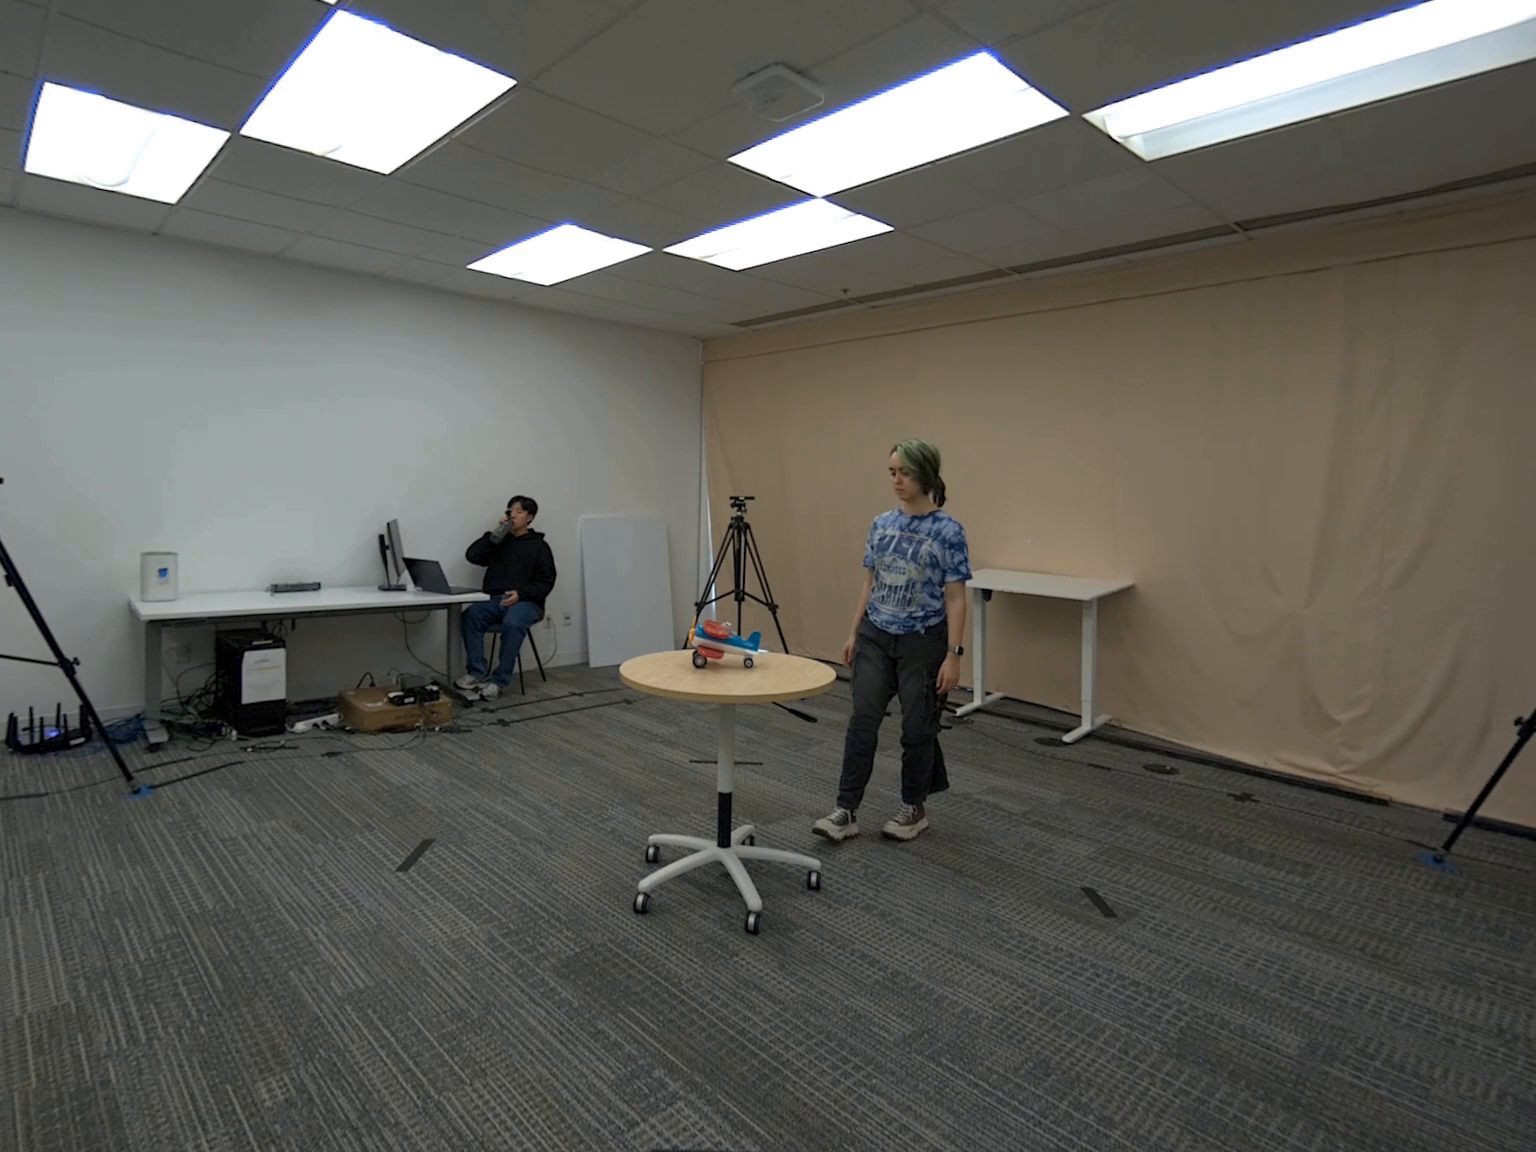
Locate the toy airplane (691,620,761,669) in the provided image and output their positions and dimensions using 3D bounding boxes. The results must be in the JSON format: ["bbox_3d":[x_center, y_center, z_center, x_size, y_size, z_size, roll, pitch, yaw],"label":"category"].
[{"bbox_3d":[-0.172,0.247,3.047,0.254,0.156,0.257,-3,7,-32],"label":"toy airplane"}]
